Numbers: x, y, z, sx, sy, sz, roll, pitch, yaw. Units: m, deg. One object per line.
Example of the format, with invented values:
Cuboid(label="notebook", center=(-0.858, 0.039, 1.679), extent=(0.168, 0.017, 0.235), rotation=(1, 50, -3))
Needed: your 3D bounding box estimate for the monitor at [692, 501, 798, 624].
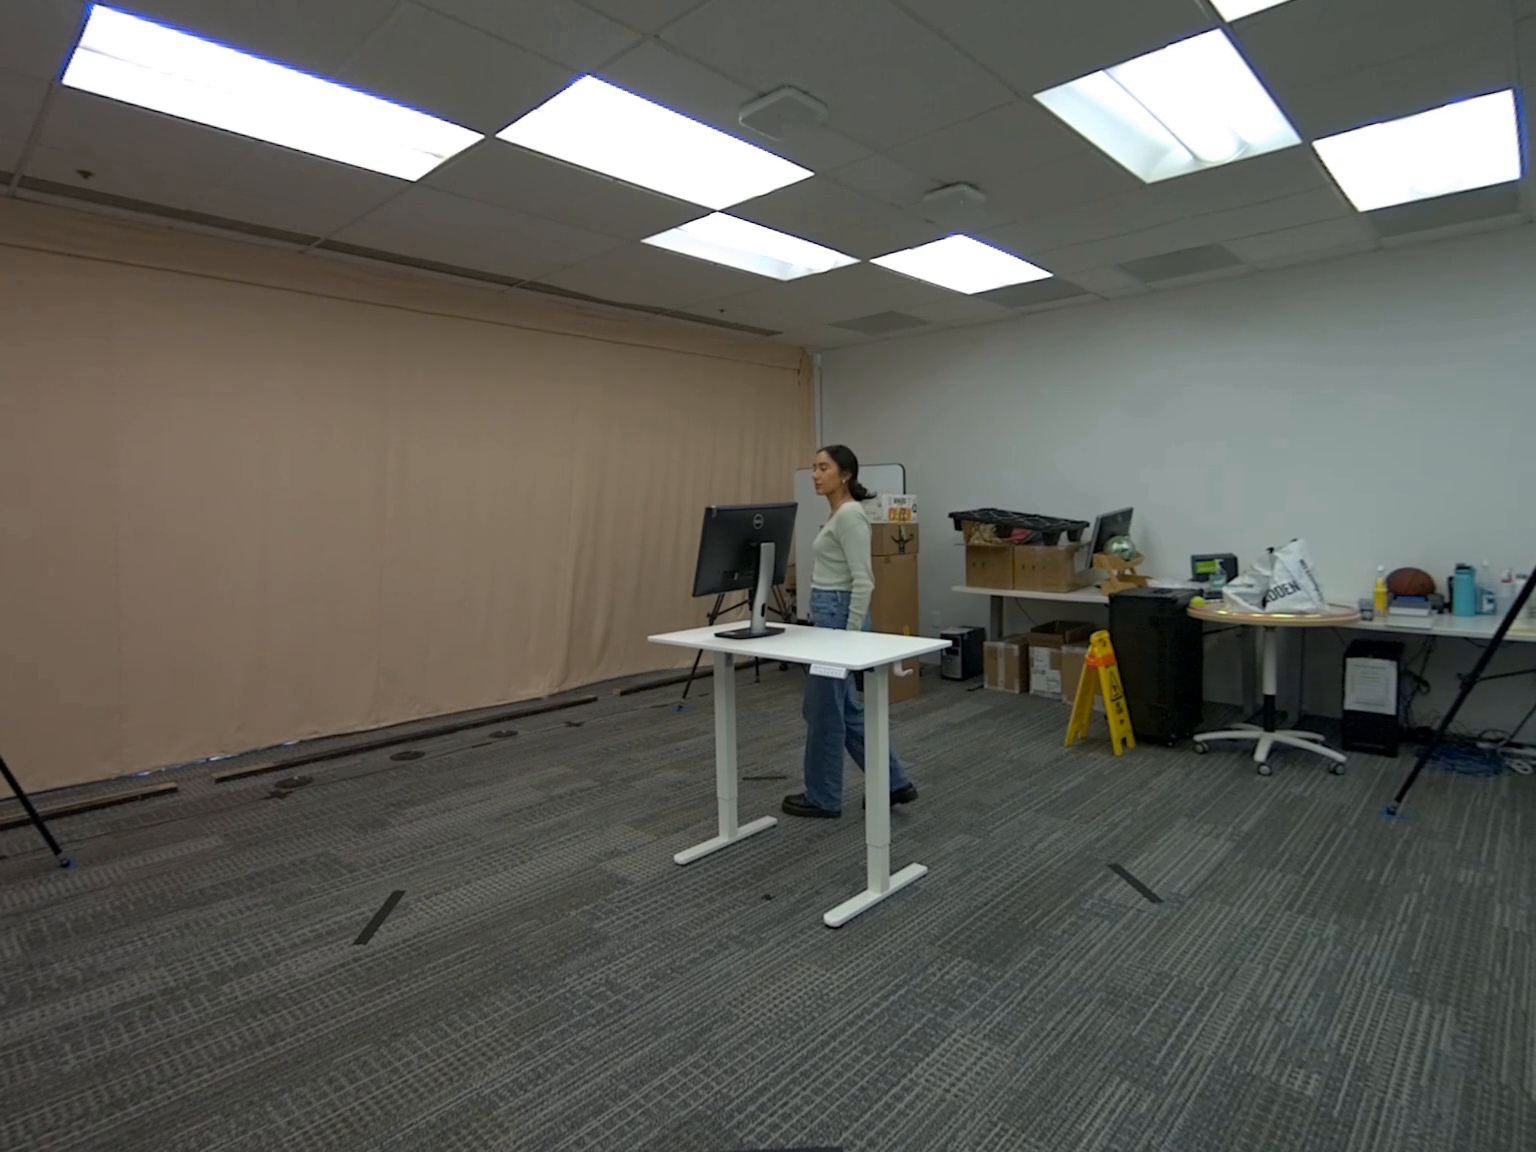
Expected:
Cuboid(label="monitor", center=(-0.057, -0.021, 3.305), extent=(0.193, 0.521, 0.523), rotation=(4, 7, 40))
